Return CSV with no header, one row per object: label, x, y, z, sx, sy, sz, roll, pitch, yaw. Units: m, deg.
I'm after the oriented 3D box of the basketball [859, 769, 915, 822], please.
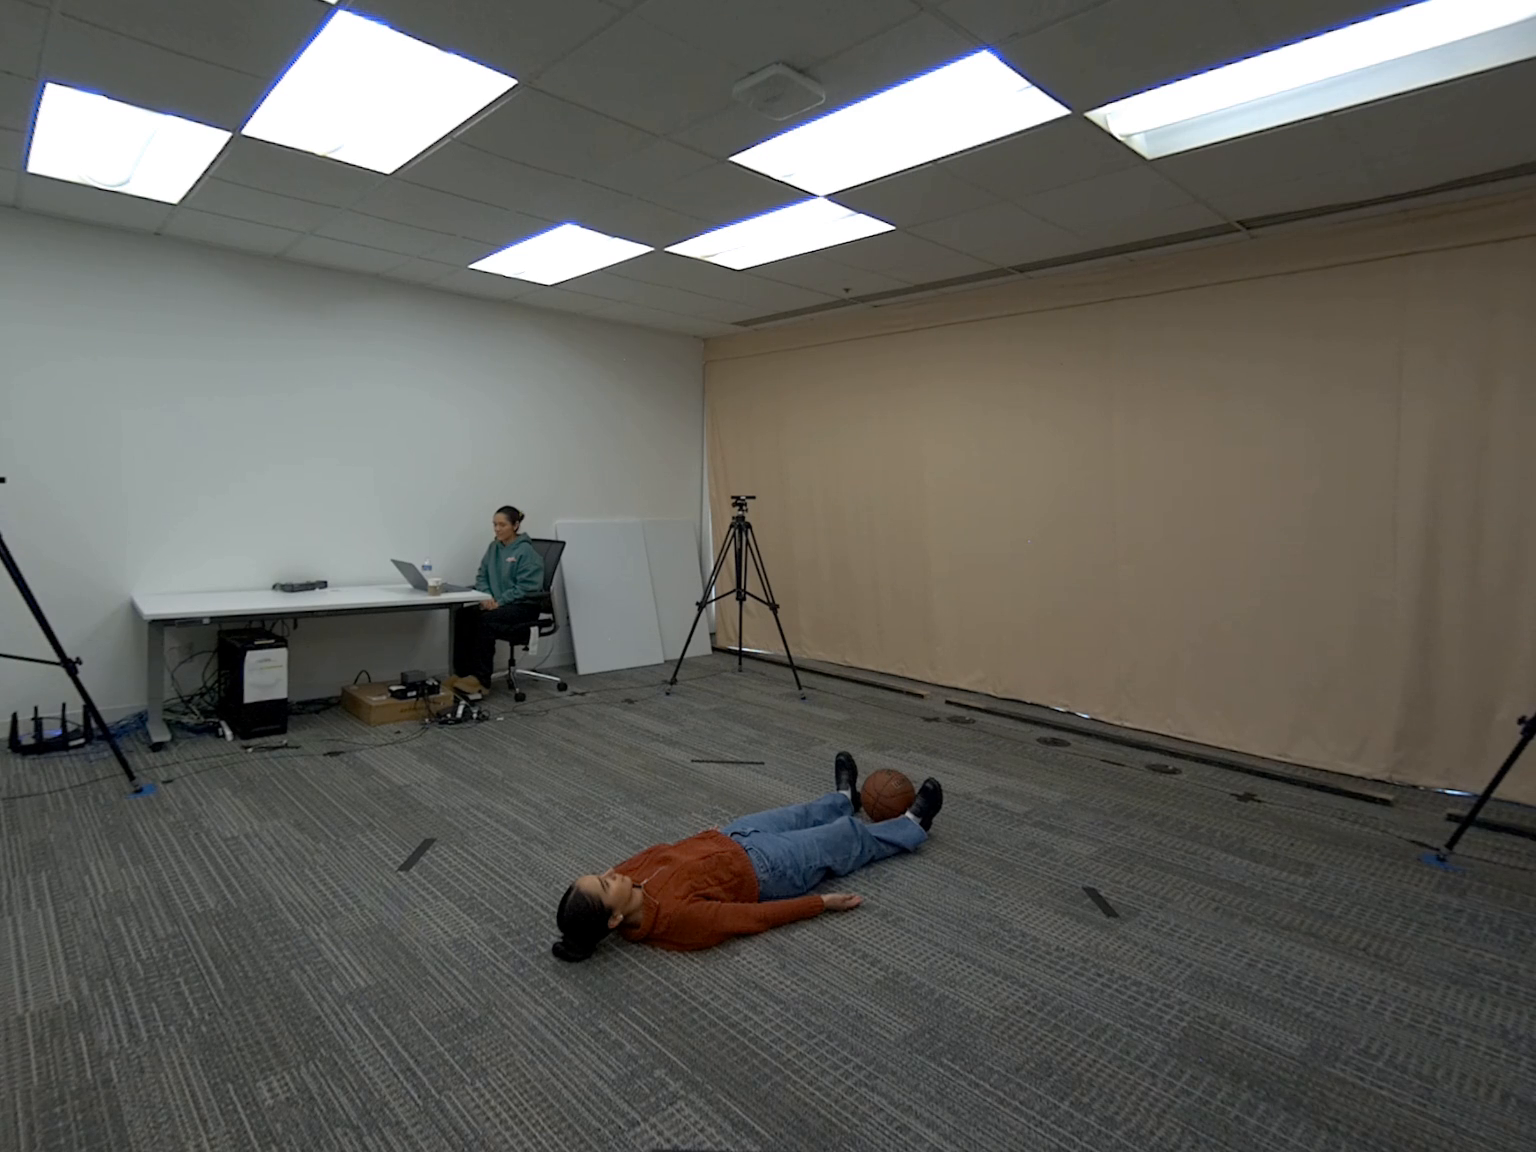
basketball,0.509,0.952,3.642,0.236,0.235,0.237,1,4,-1
